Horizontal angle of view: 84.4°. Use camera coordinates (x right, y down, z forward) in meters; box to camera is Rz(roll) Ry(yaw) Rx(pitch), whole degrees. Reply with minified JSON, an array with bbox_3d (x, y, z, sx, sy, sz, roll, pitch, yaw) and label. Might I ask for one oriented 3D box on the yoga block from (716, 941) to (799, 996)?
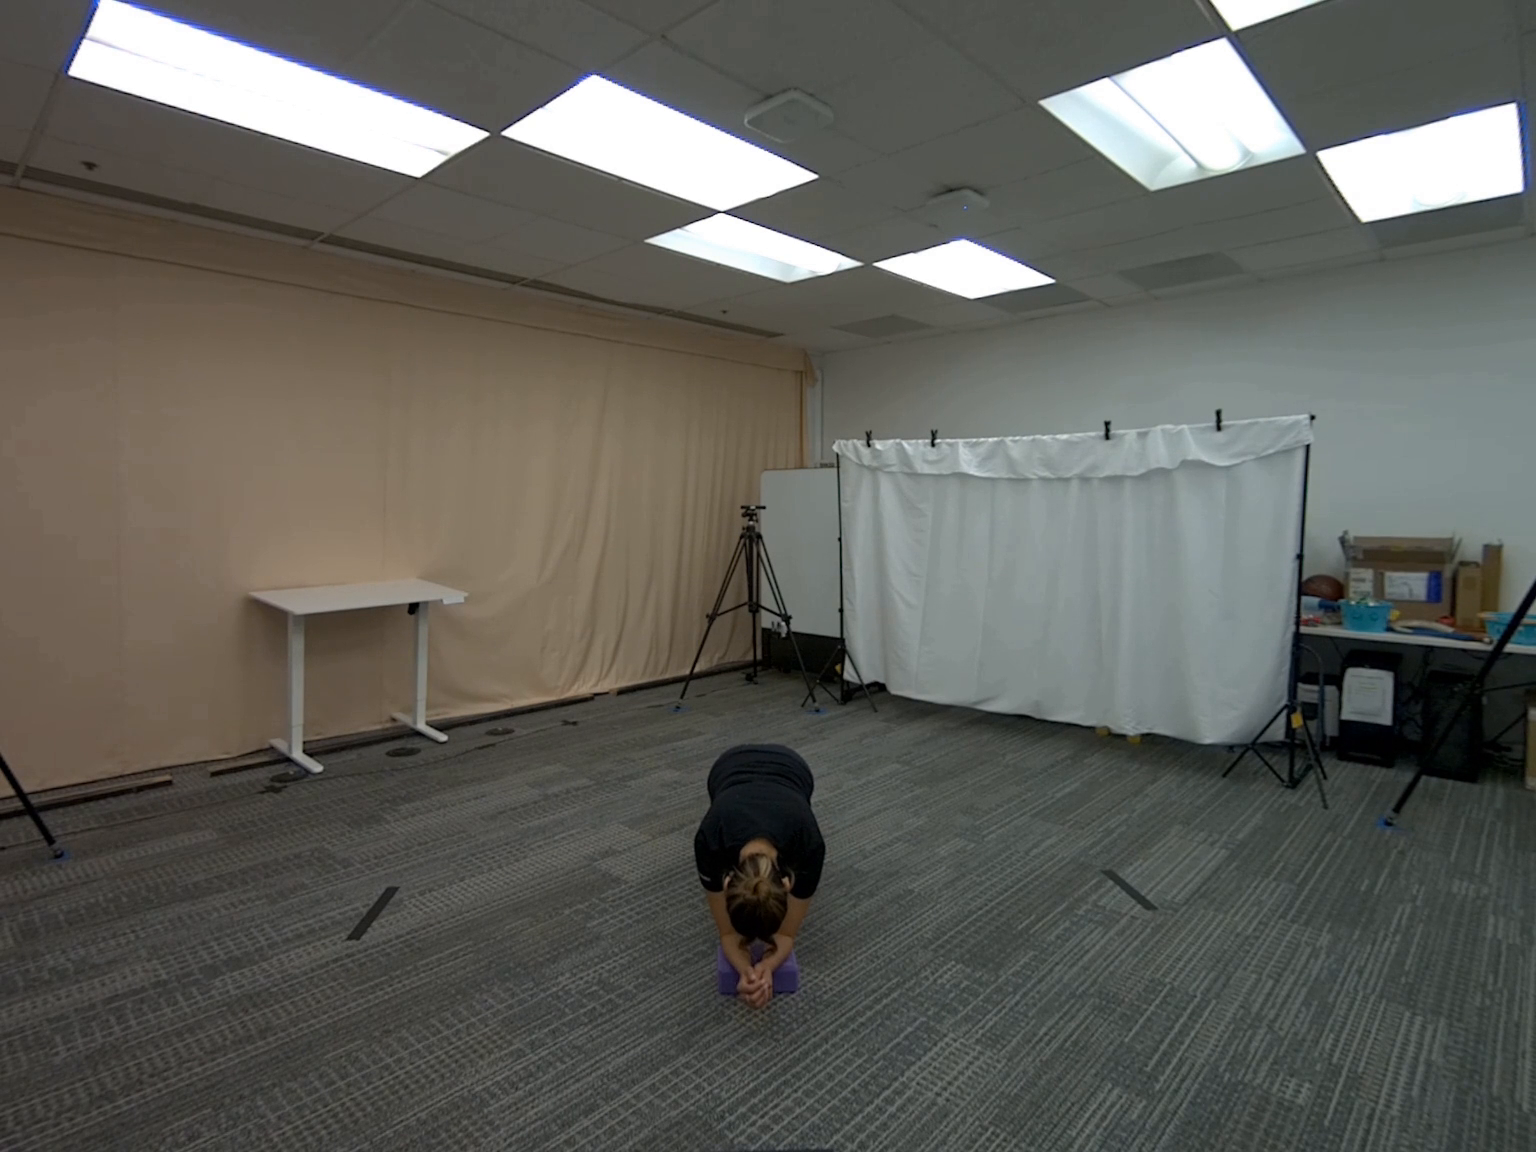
[{"bbox_3d":[-0.030,1.140,2.471,0.229,0.076,0.149,0,6,-1],"label":"yoga block"}]
